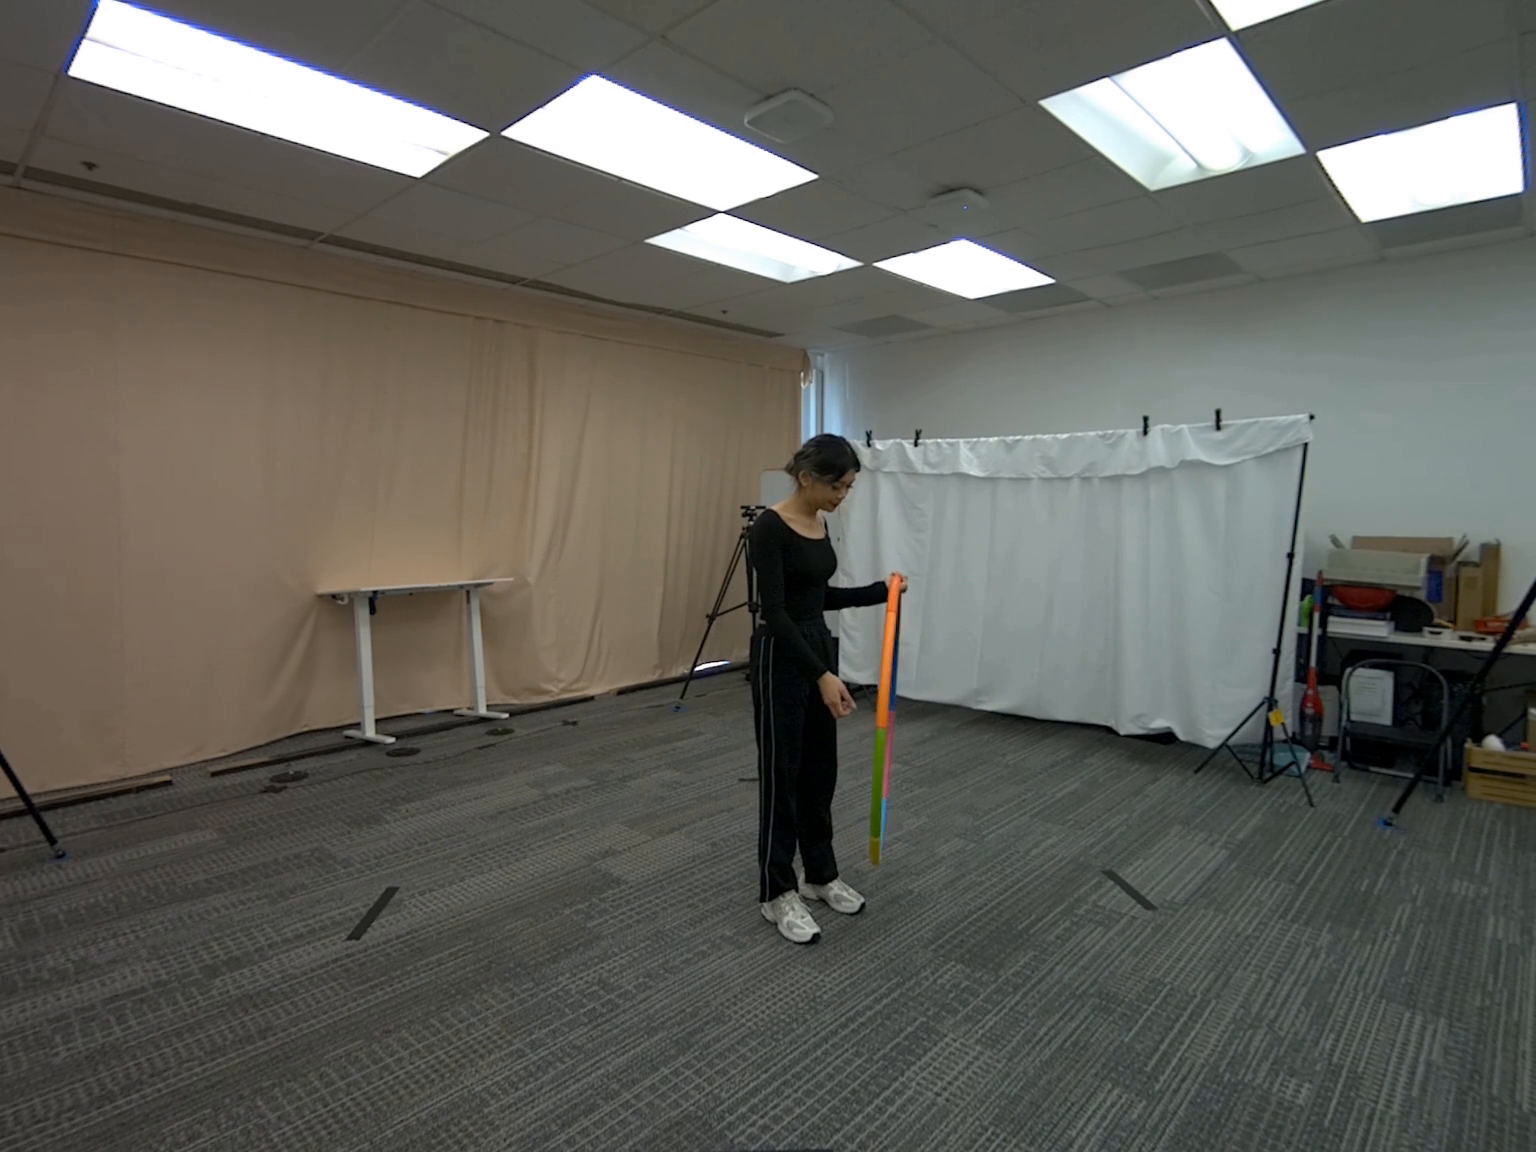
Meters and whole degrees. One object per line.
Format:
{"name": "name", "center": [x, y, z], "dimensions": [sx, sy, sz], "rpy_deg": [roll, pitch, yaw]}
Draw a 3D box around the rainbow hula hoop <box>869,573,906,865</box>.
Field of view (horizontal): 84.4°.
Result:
{"name": "rainbow hula hoop", "center": [0.422, 0.495, 2.965], "dimensions": [0.036, 0.976, 0.967], "rpy_deg": [3, 4, 11]}
